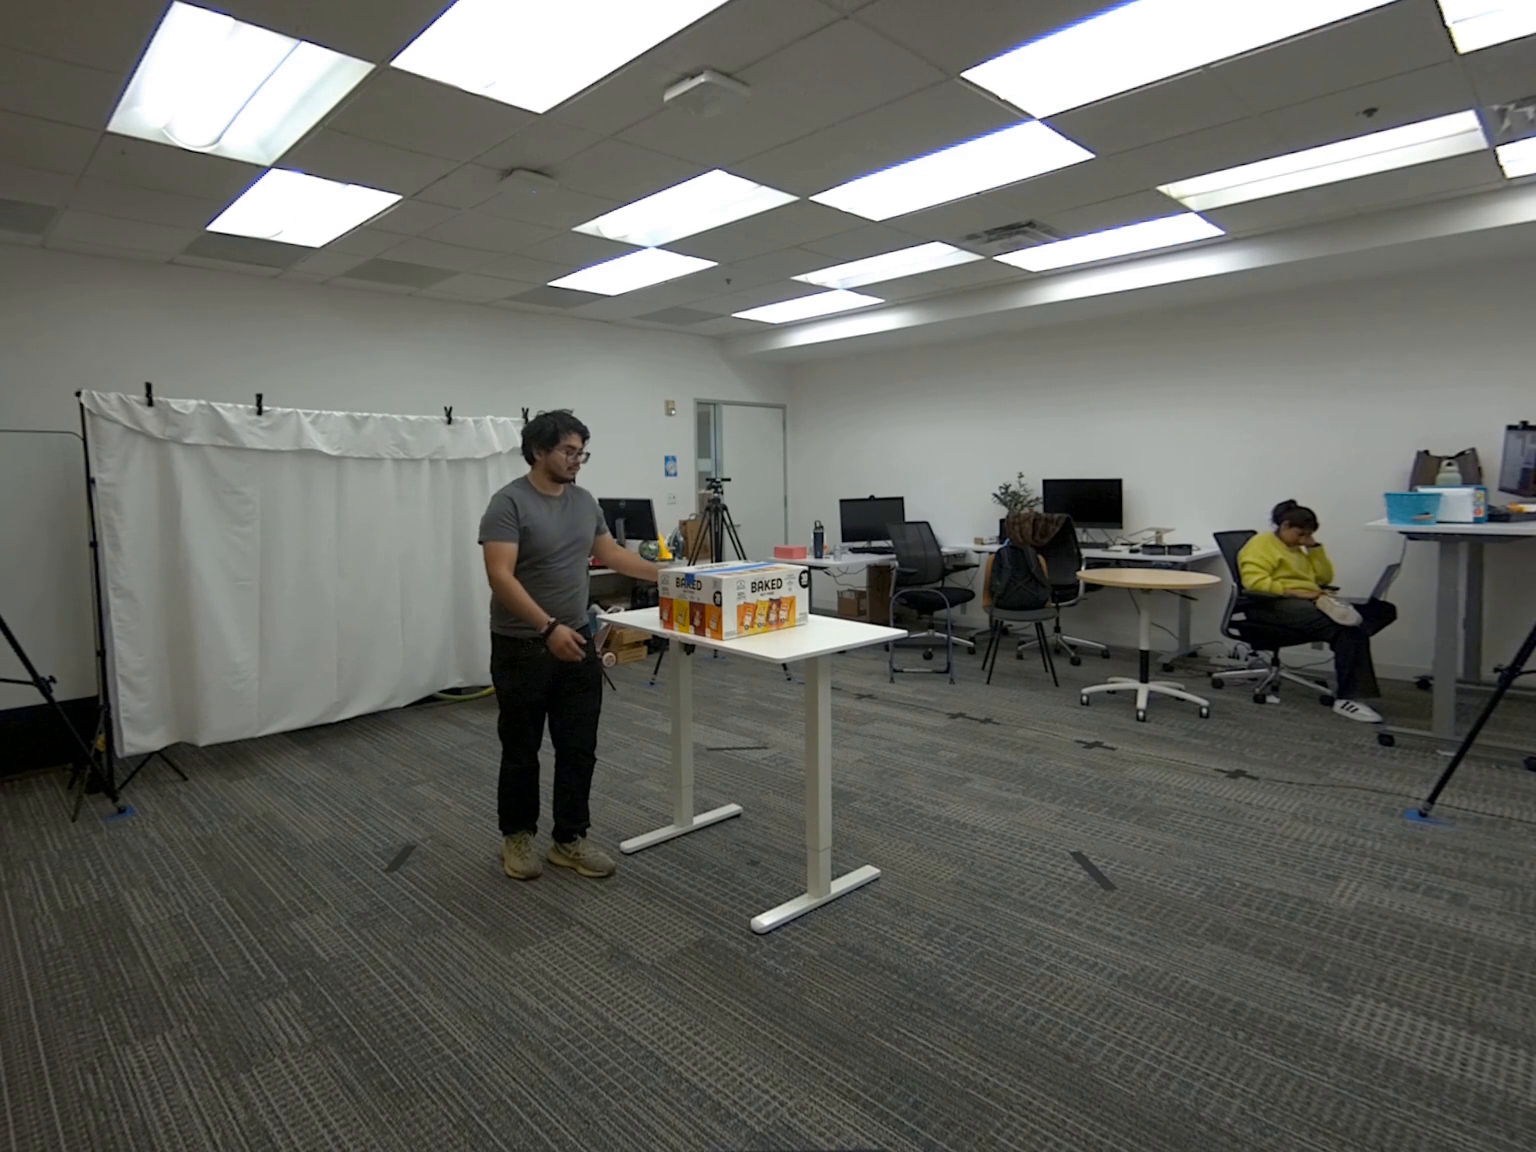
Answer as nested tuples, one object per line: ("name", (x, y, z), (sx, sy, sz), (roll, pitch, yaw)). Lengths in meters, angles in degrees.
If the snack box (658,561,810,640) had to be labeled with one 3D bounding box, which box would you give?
("snack box", (-0.119, 0.072, 2.973), (0.395, 0.204, 0.351), (-7, 9, -43))
